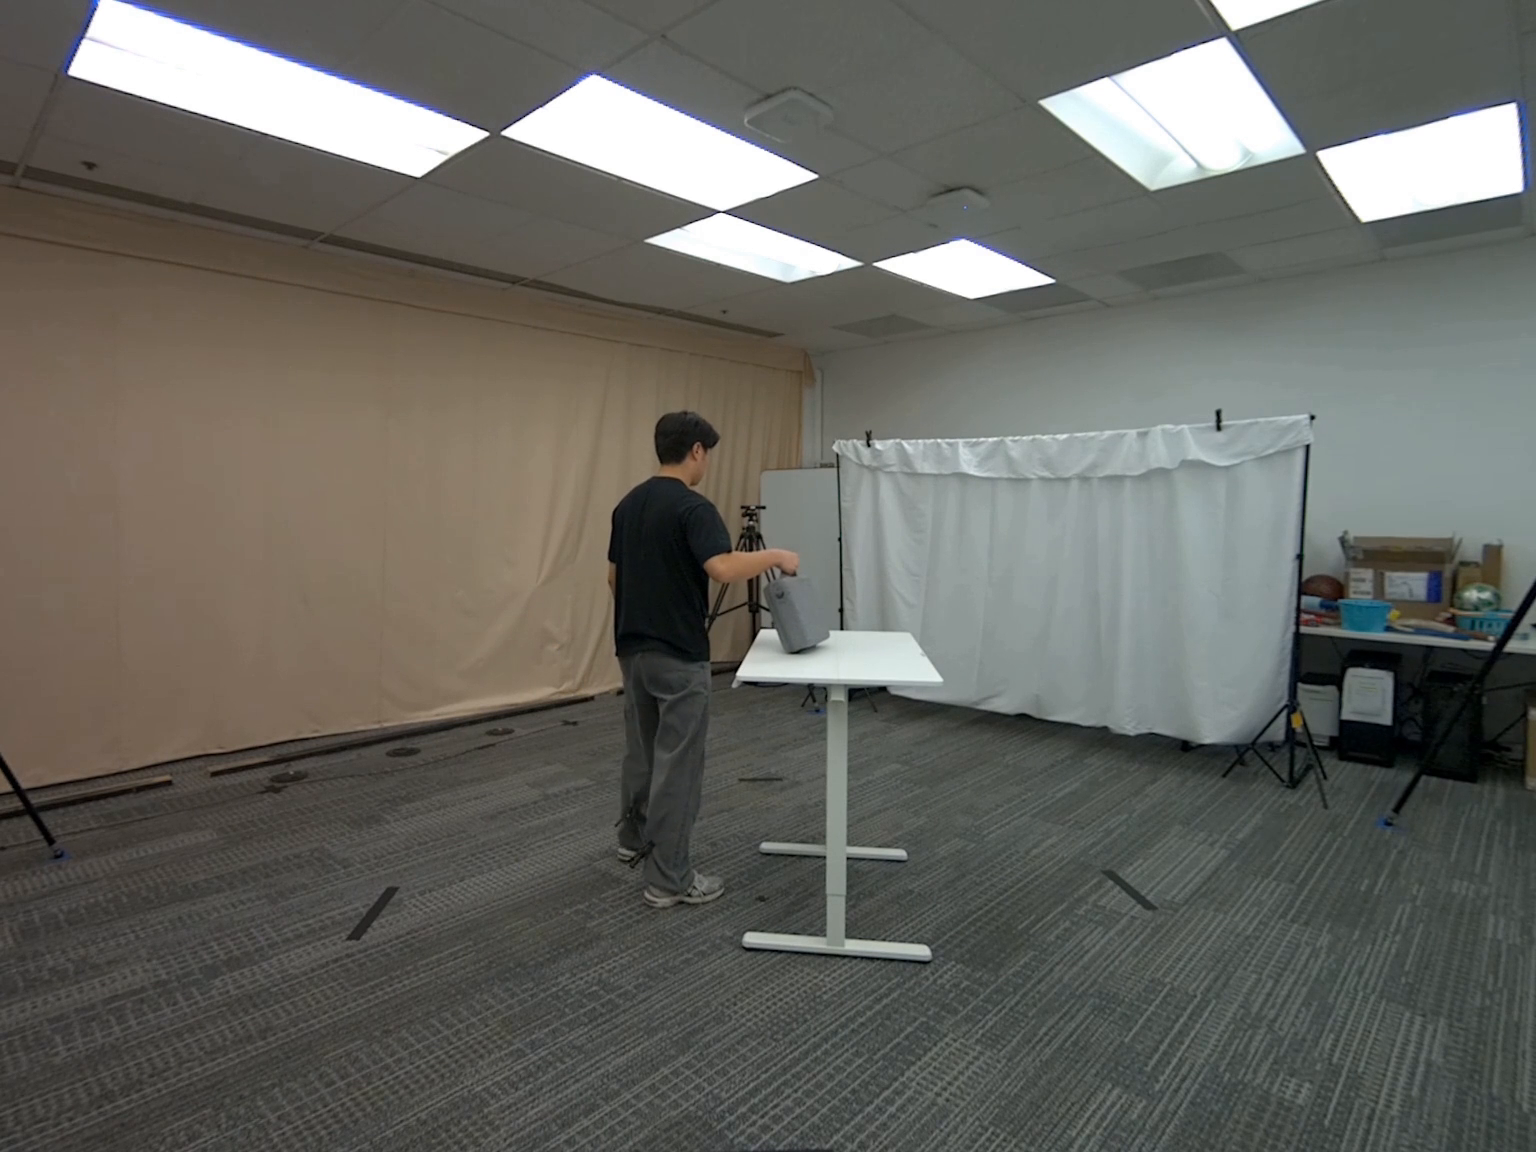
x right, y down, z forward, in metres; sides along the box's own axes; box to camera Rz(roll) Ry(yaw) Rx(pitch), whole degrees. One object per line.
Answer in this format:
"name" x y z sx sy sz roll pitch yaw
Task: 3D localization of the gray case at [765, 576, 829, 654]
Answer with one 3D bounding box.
"gray case" 0.105 0.123 2.967 0.105 0.289 0.257 -19 -6 23
